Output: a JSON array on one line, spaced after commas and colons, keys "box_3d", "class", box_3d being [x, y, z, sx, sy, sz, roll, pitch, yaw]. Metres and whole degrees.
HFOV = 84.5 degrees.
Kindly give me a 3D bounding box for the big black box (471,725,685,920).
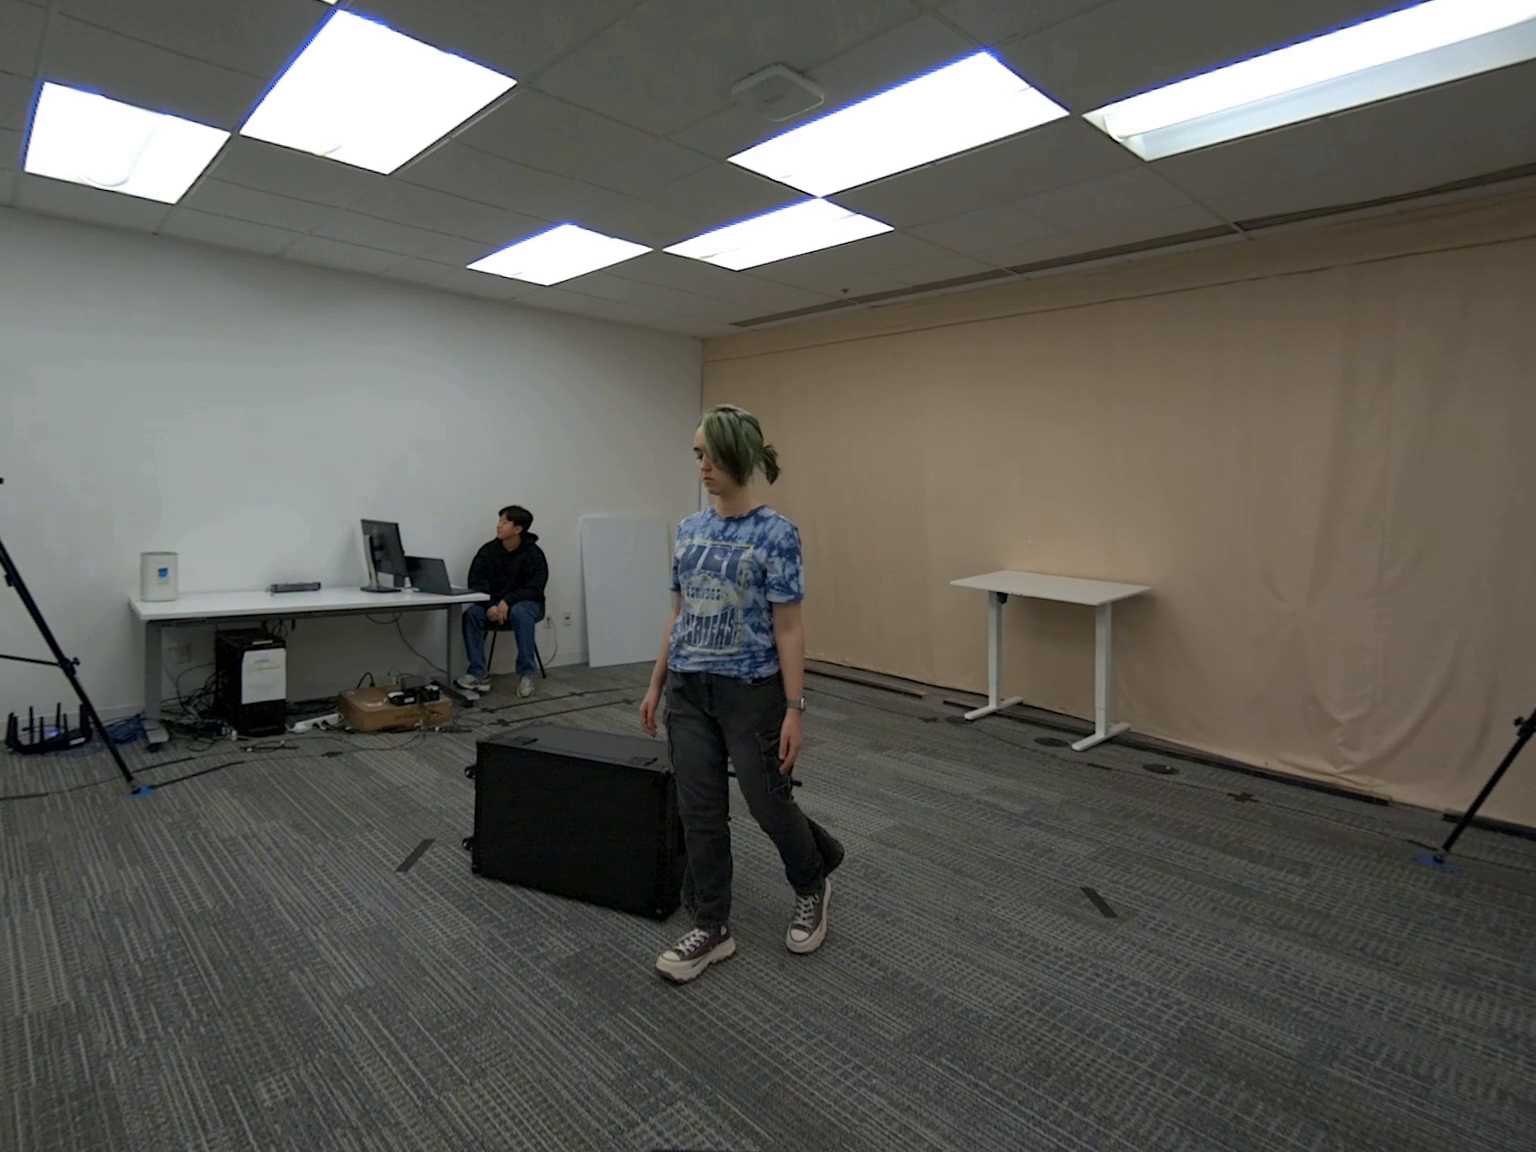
[{"box_3d": [-0.661, 0.840, 3.064, 0.877, 0.521, 0.389, 4, 2, 23], "class": "big black box"}]
